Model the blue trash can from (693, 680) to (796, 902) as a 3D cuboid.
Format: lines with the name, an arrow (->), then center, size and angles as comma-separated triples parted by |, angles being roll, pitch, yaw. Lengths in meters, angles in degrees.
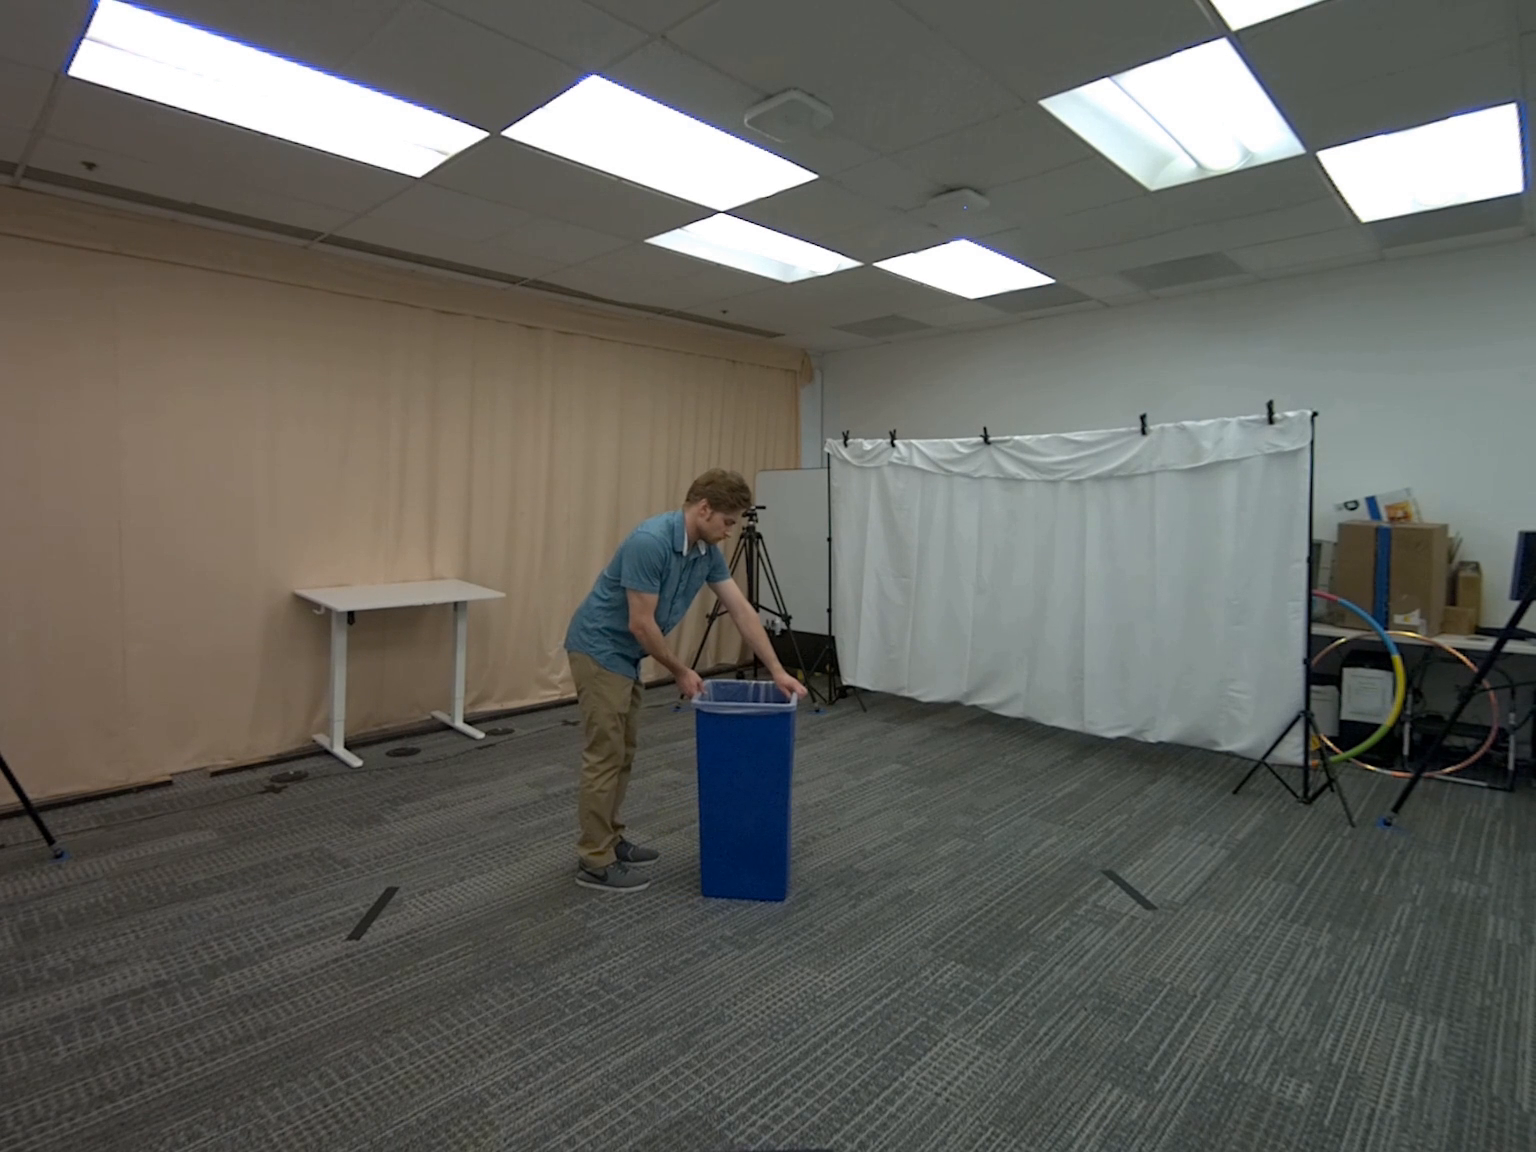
blue trash can -> -0.084, 0.777, 3.095 | 0.376, 0.712, 0.377 | 1, 4, 5
